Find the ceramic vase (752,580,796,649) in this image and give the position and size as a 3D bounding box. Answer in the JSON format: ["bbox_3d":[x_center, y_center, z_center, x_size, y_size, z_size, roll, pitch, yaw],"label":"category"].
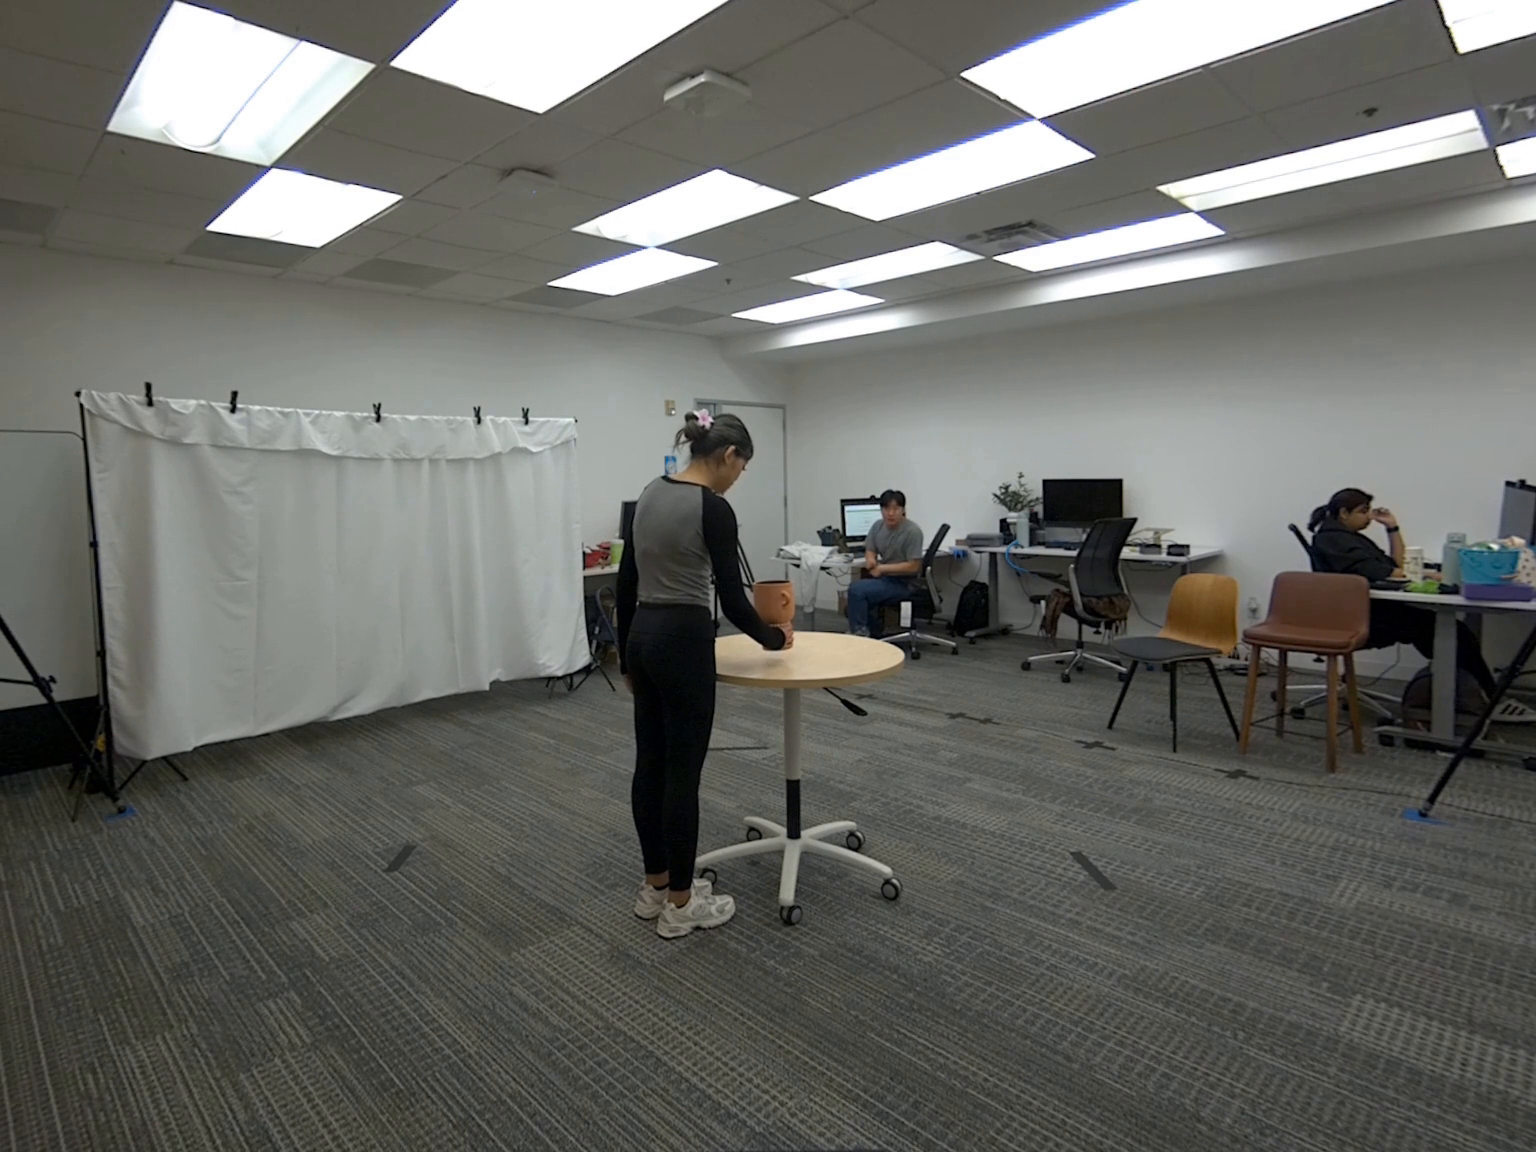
[{"bbox_3d":[0.026,0.132,2.813,0.136,0.219,0.157,-3,4,12],"label":"ceramic vase"}]
